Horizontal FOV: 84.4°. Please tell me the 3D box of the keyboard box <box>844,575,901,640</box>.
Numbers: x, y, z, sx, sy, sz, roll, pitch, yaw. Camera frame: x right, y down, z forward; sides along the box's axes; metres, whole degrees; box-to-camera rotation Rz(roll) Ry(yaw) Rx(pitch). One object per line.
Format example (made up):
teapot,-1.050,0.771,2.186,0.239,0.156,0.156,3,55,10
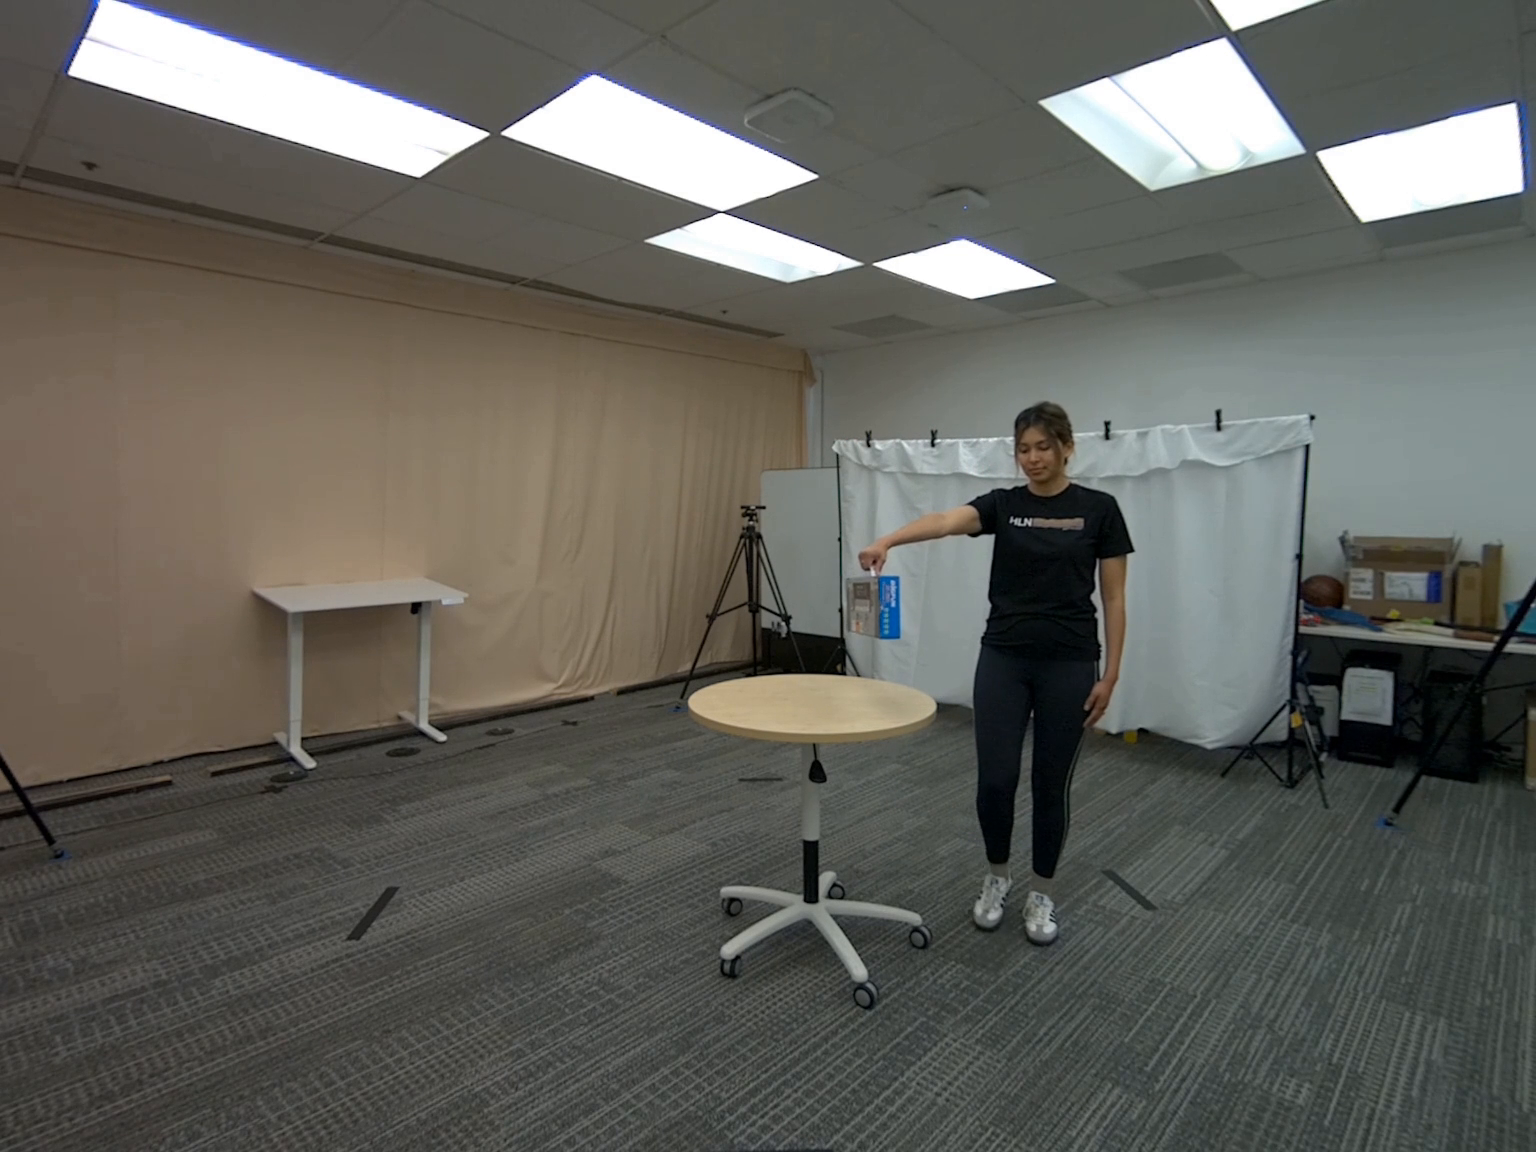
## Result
keyboard box,0.309,0.096,2.514,0.059,0.176,0.439,0,1,-8
